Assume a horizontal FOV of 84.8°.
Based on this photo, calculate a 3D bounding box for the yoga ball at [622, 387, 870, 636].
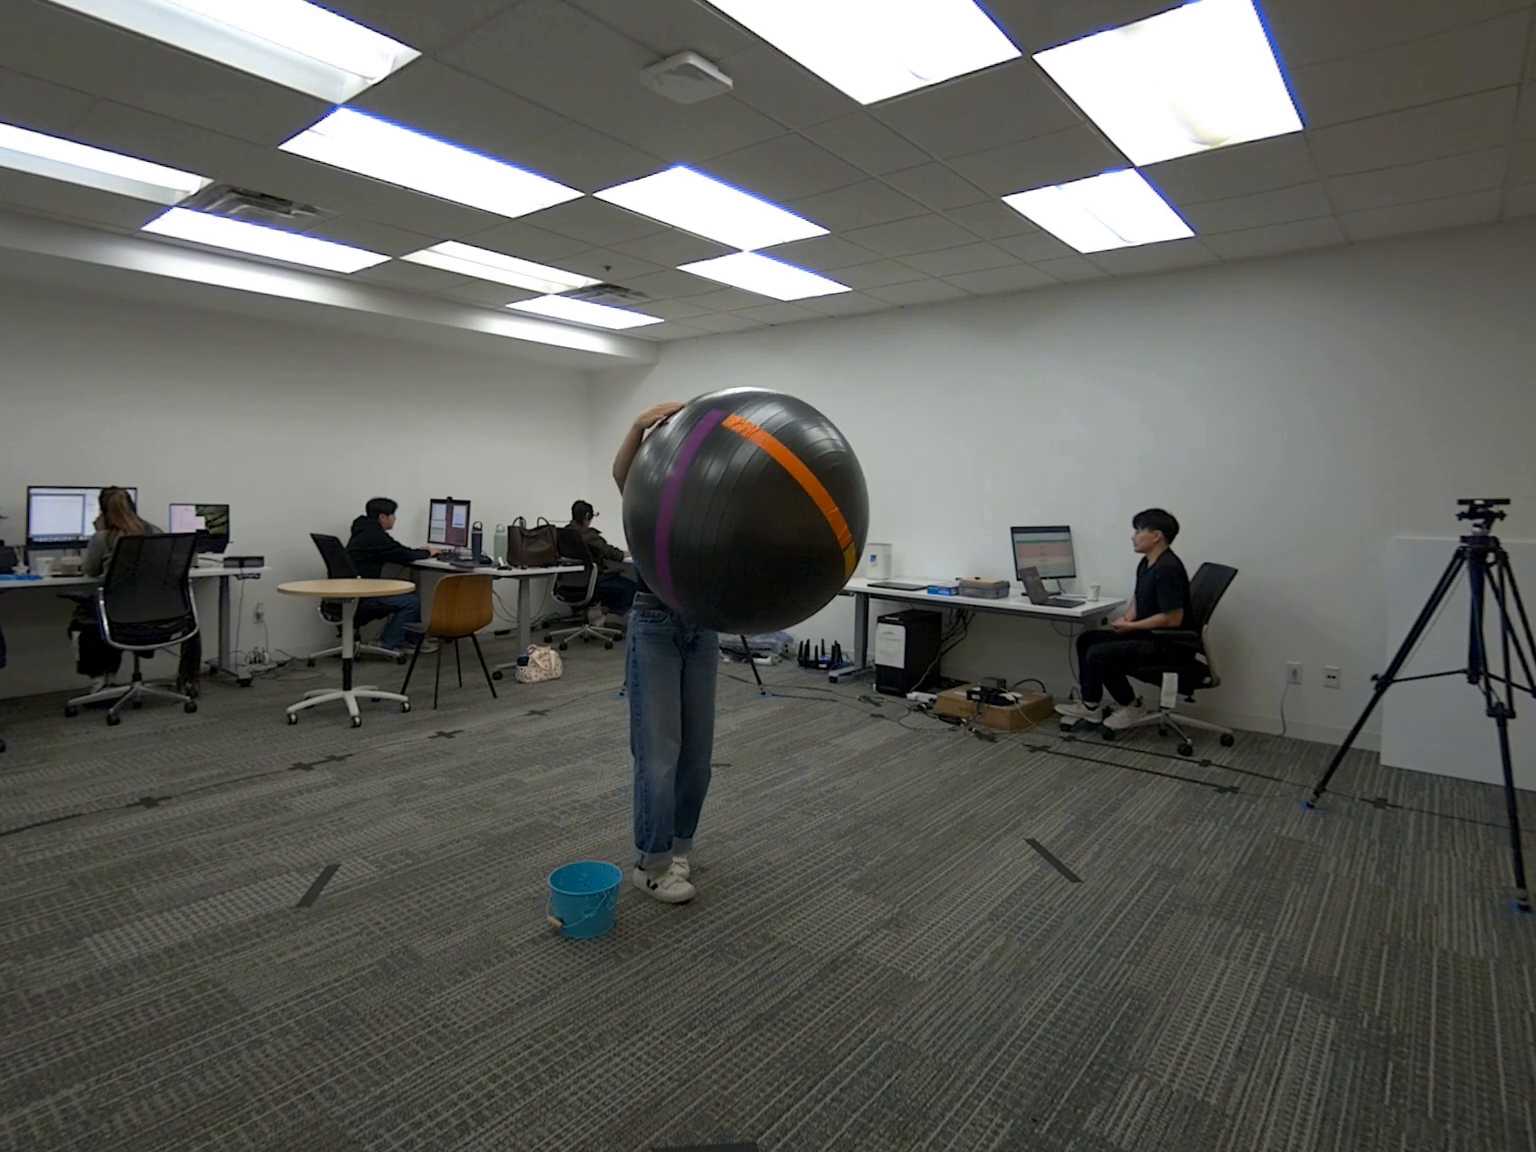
[{"bbox_3d":[-0.085,-0.196,2.616,0.757,0.755,0.762,1,4,-2],"label":"yoga ball"}]
